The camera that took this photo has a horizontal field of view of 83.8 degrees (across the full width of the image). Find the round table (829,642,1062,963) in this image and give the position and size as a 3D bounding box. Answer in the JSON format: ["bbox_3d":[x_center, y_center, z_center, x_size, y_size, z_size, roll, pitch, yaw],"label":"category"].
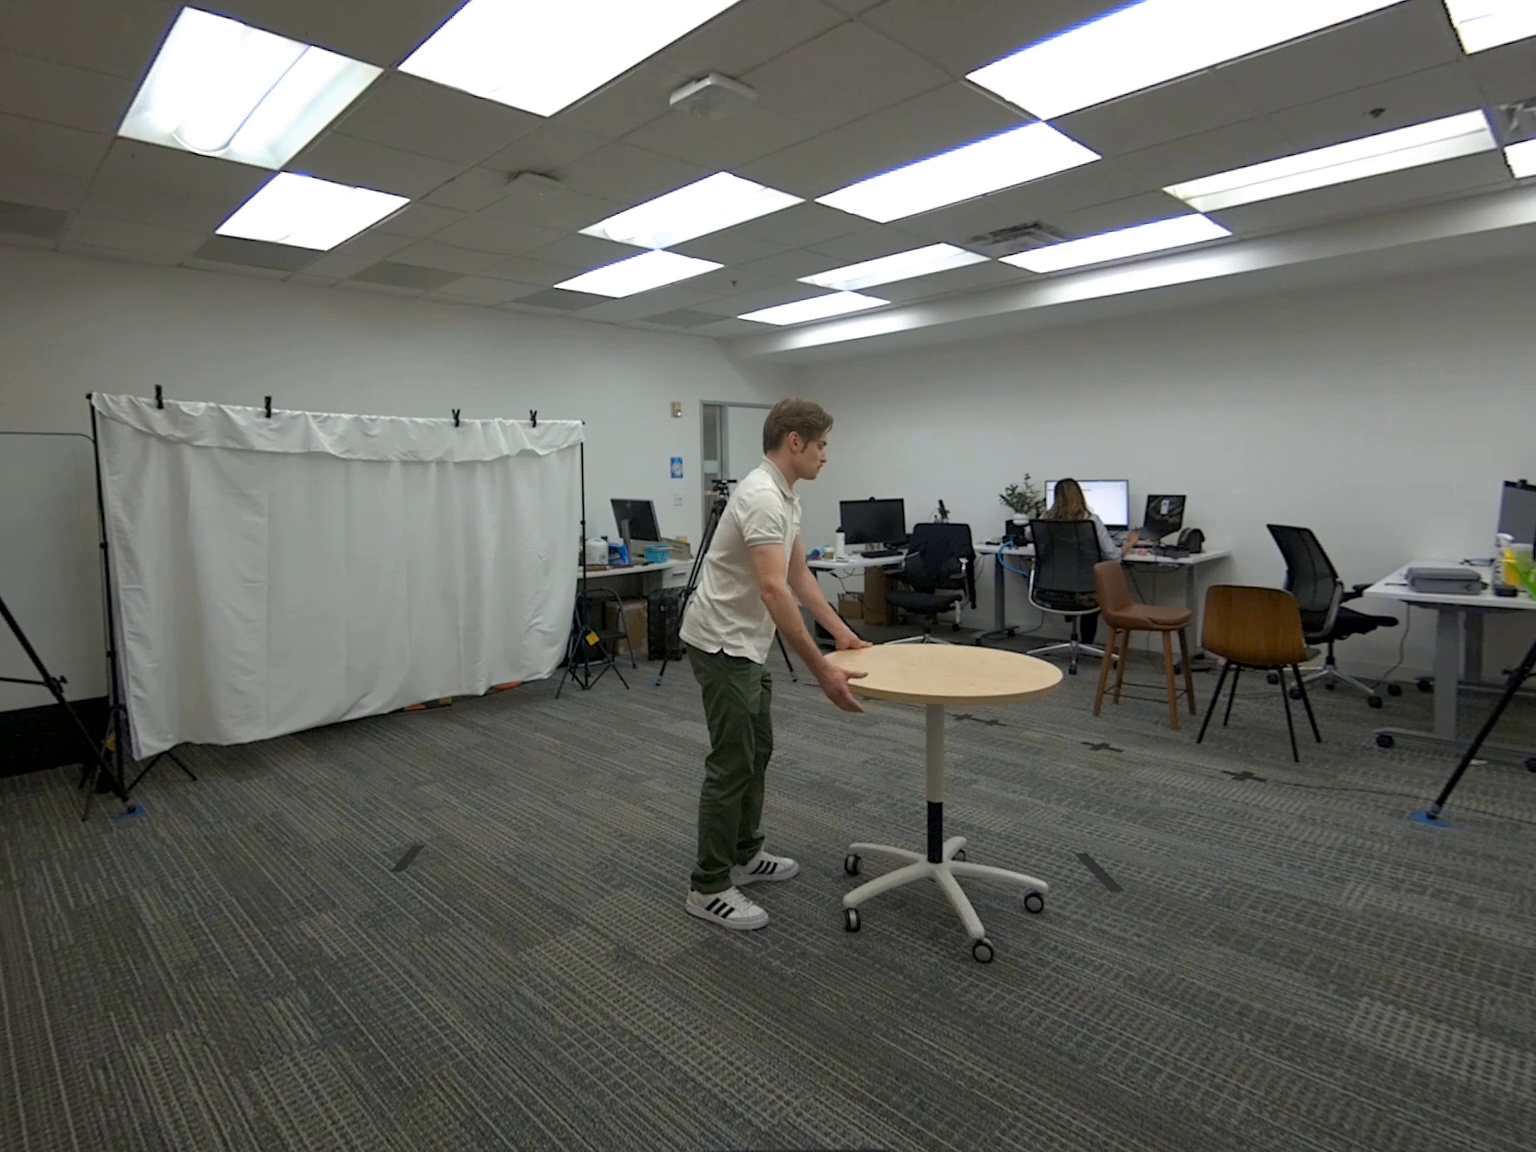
[{"bbox_3d":[0.542,0.682,2.784,0.763,0.791,0.768,-1,5,-2],"label":"round table"}]
